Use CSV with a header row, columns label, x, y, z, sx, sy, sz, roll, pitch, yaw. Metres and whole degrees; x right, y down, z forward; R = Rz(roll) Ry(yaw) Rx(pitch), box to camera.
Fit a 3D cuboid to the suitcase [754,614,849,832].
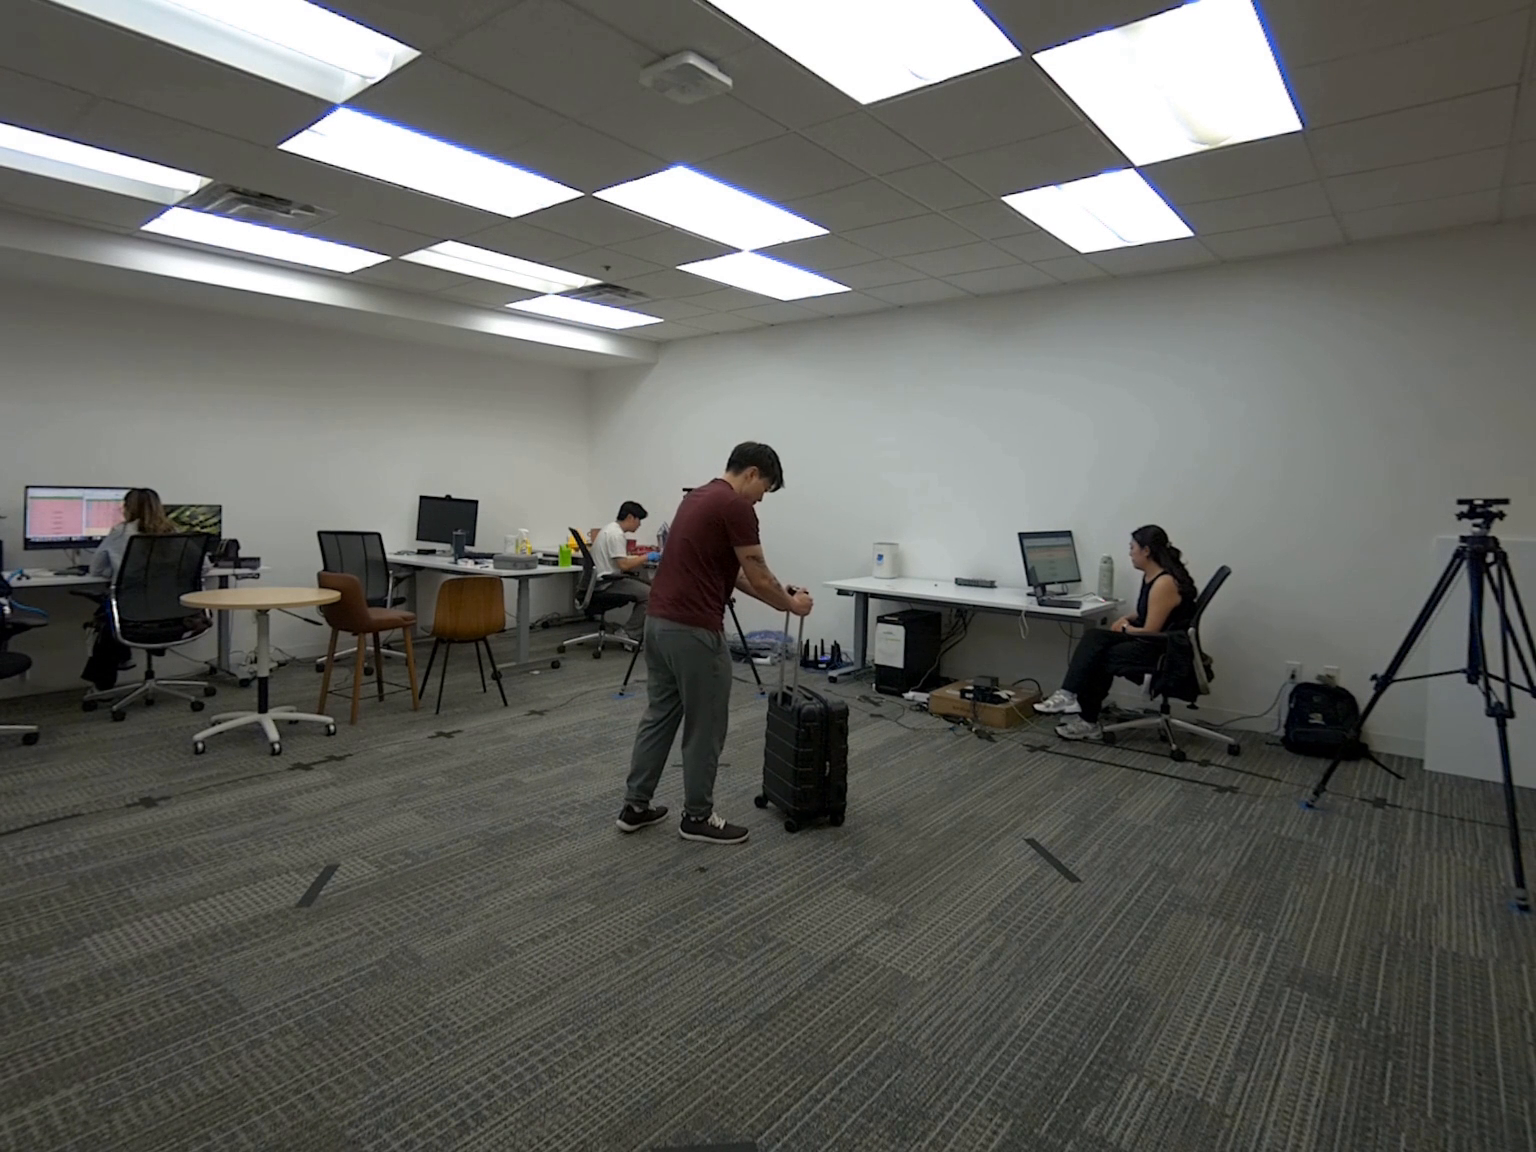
label,x,y,z,sx,sy,sz,roll,pitch,yaw
suitcase,0.165,0.556,3.624,0.251,0.976,0.393,5,3,-21
